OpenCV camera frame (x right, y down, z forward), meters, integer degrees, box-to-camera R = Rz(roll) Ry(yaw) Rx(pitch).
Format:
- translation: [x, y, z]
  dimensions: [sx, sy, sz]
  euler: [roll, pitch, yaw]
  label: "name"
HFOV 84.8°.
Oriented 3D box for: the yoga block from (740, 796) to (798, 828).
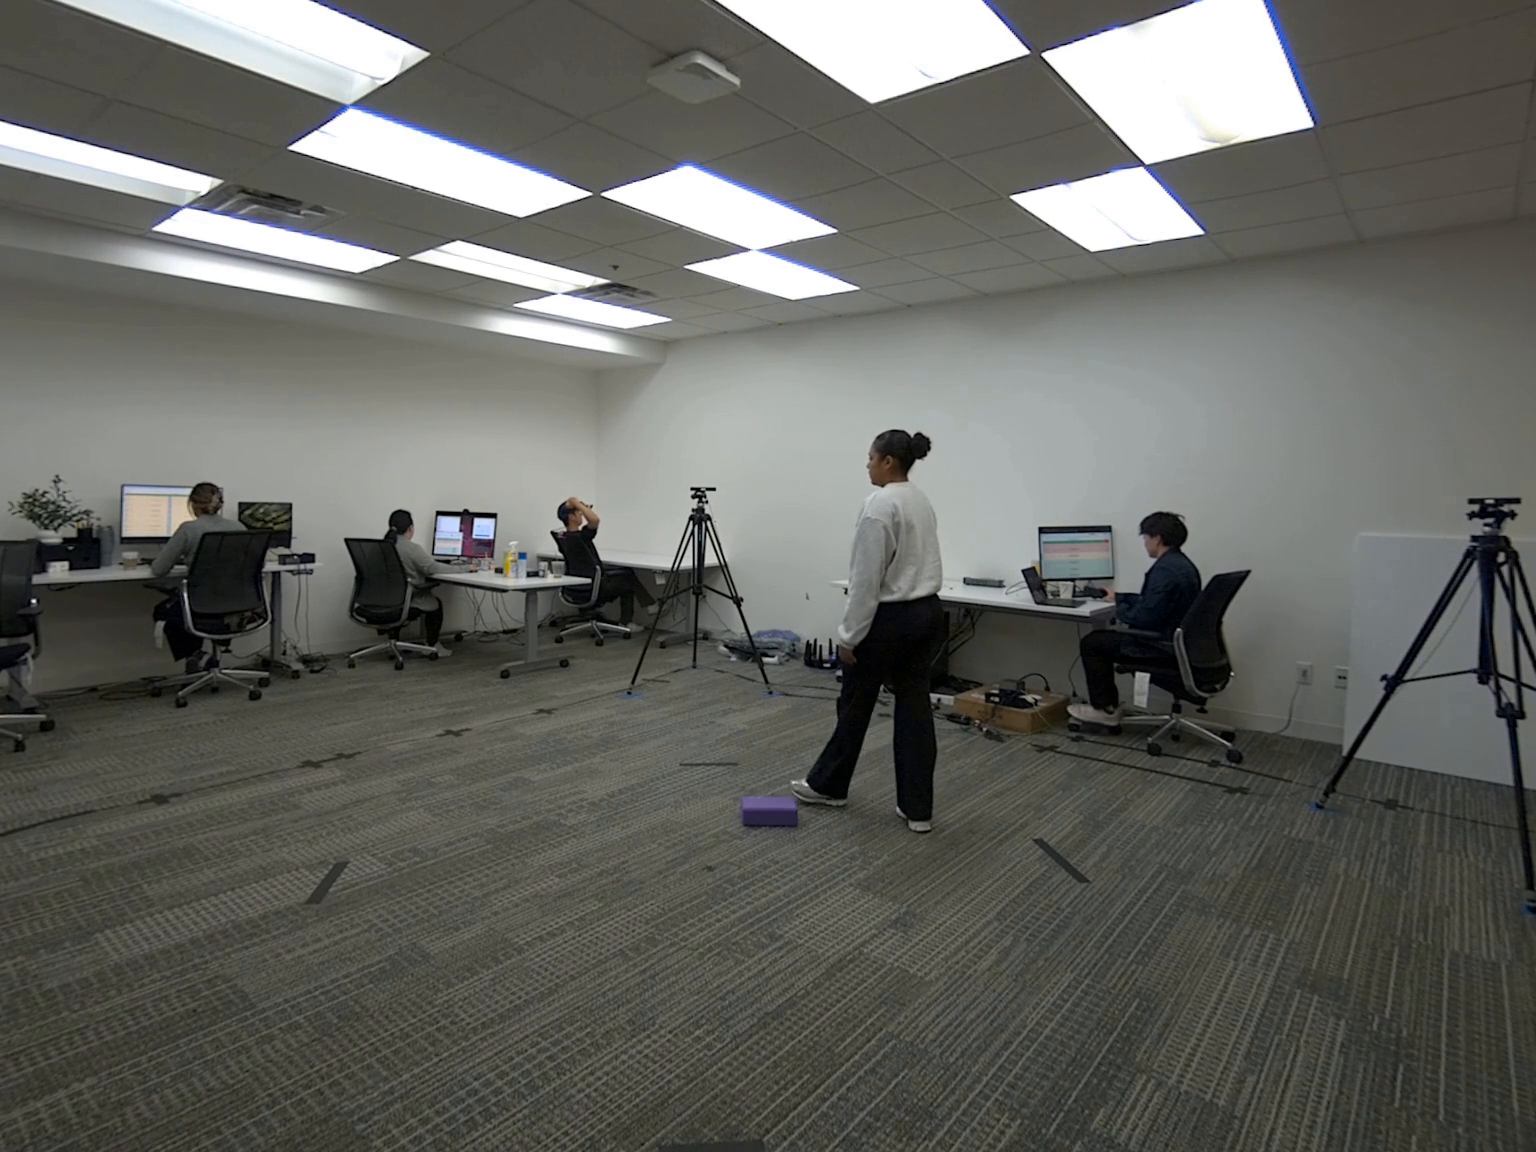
- translation: [-0.004, 0.986, 3.579]
  dimensions: [0.229, 0.076, 0.150]
  euler: [1, 6, -2]
  label: "yoga block"
